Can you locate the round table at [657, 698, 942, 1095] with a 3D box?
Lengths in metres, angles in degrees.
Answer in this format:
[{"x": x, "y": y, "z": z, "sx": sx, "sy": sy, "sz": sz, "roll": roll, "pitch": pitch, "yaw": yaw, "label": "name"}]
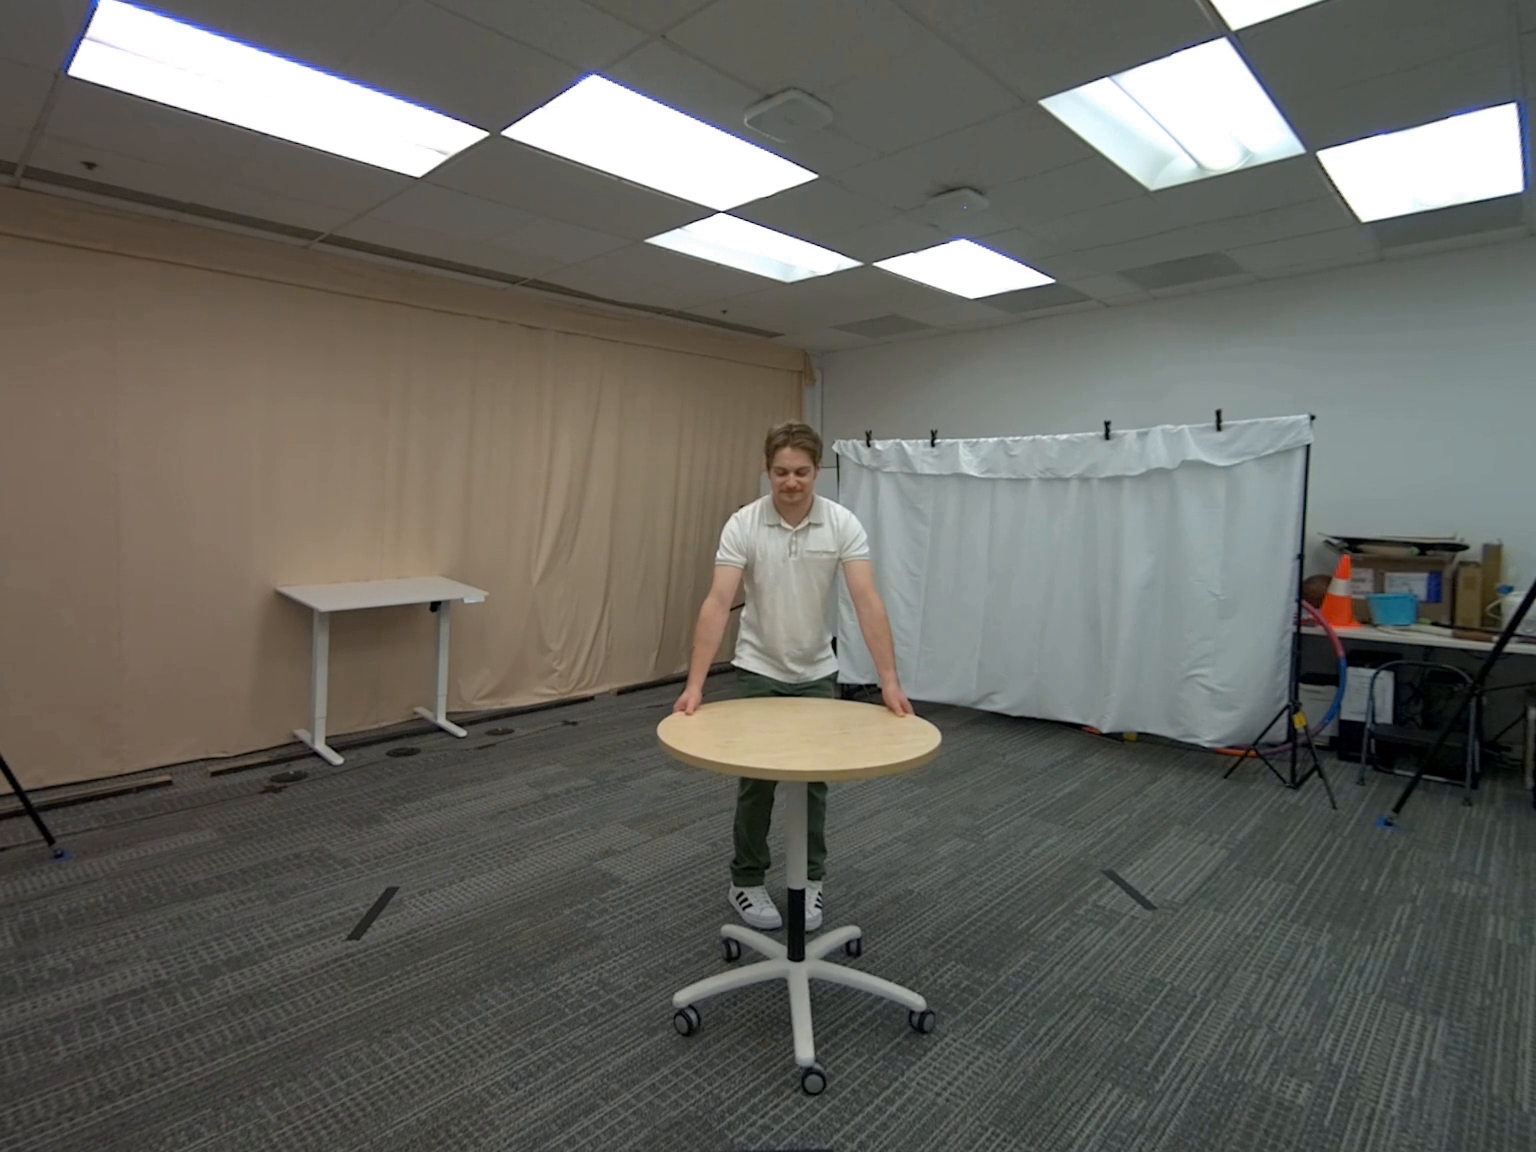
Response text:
[{"x": 0.079, "y": 0.808, "z": 2.326, "sx": 0.763, "sy": 0.792, "sz": 0.766, "roll": 0, "pitch": 3, "yaw": -2, "label": "round table"}]
